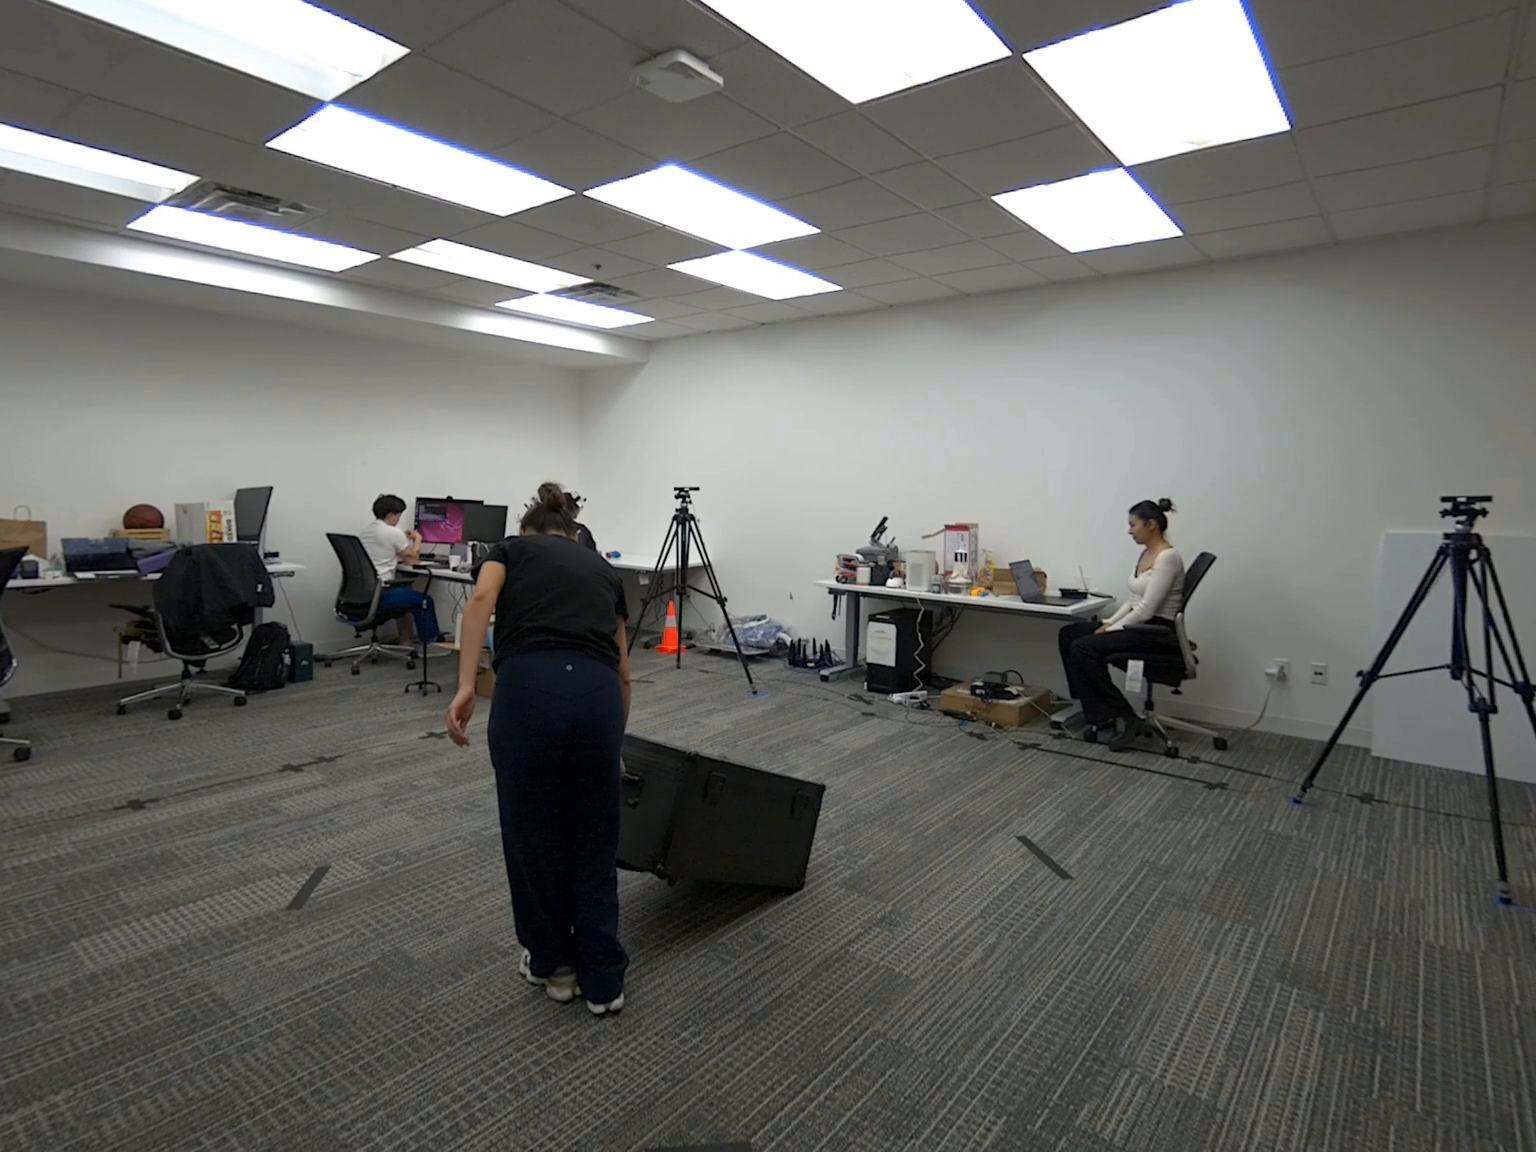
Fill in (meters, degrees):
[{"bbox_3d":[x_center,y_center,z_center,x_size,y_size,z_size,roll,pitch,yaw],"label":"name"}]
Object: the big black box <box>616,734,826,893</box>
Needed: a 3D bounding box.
[{"bbox_3d":[-0.206,0.780,2.926,0.538,0.400,0.826,4,-17,38],"label":"big black box"}]
